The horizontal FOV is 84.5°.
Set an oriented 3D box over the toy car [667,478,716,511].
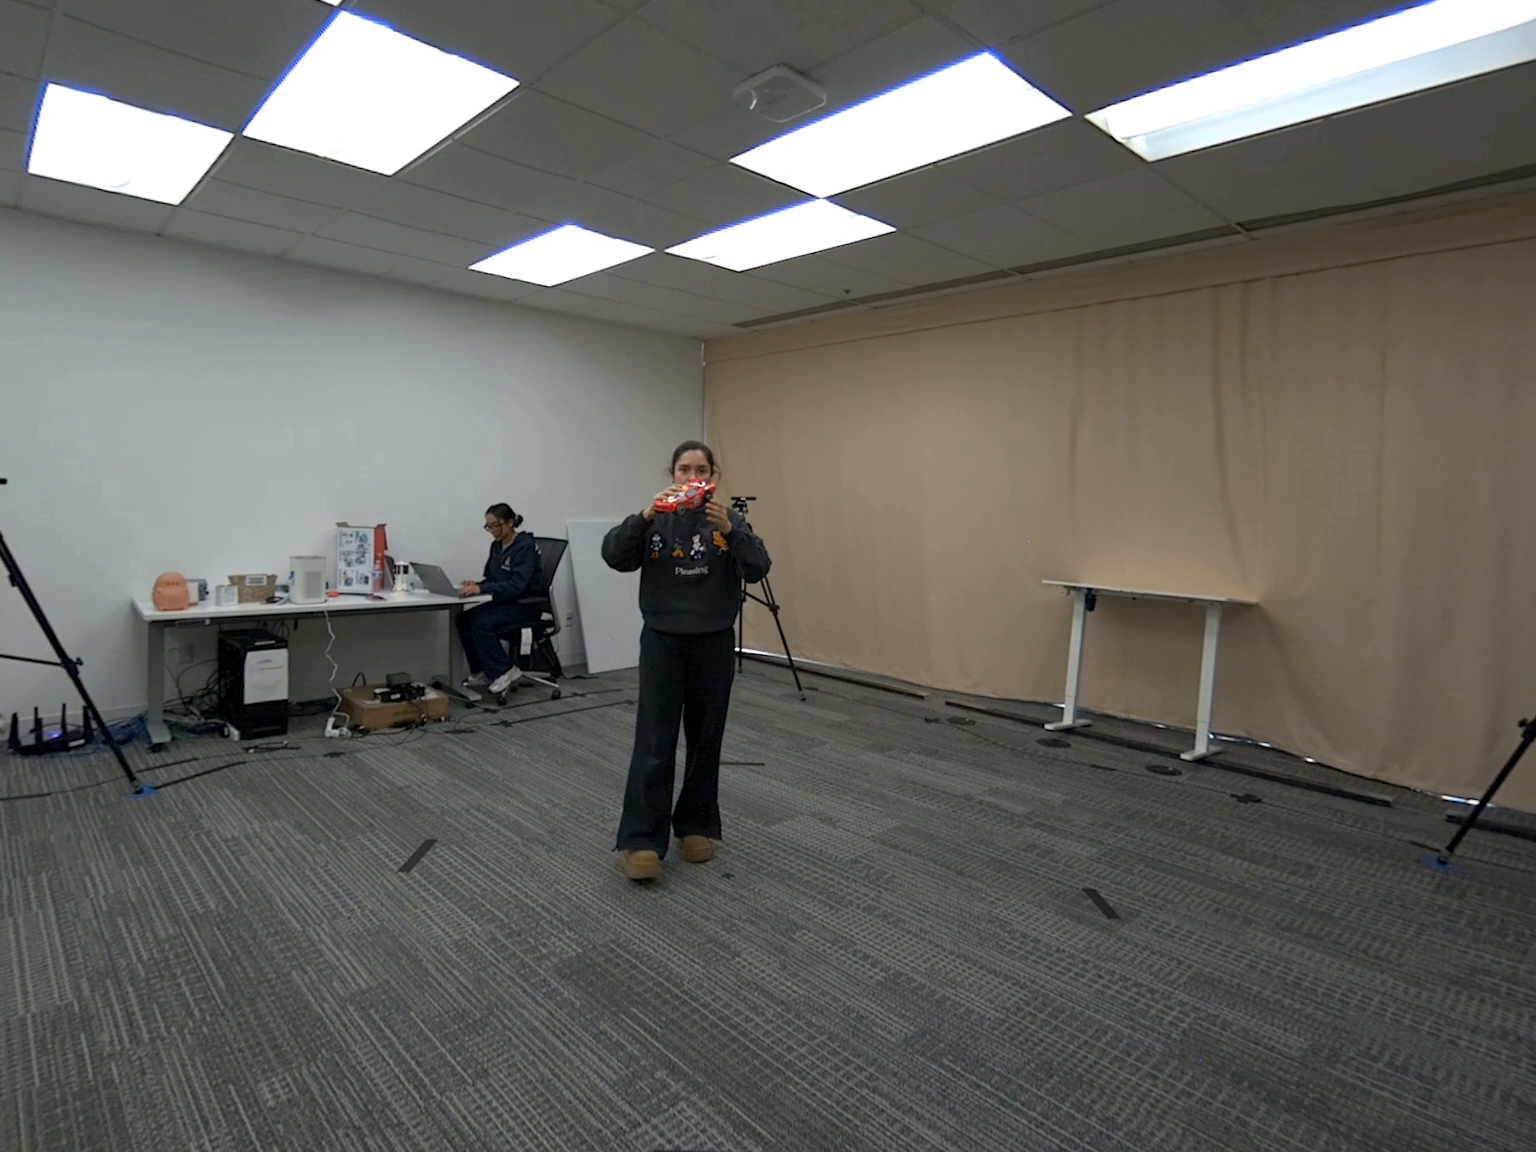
[{"bbox_3d":[-0.294,-0.272,2.964,0.133,0.081,0.254,8,36,36],"label":"toy car"}]
